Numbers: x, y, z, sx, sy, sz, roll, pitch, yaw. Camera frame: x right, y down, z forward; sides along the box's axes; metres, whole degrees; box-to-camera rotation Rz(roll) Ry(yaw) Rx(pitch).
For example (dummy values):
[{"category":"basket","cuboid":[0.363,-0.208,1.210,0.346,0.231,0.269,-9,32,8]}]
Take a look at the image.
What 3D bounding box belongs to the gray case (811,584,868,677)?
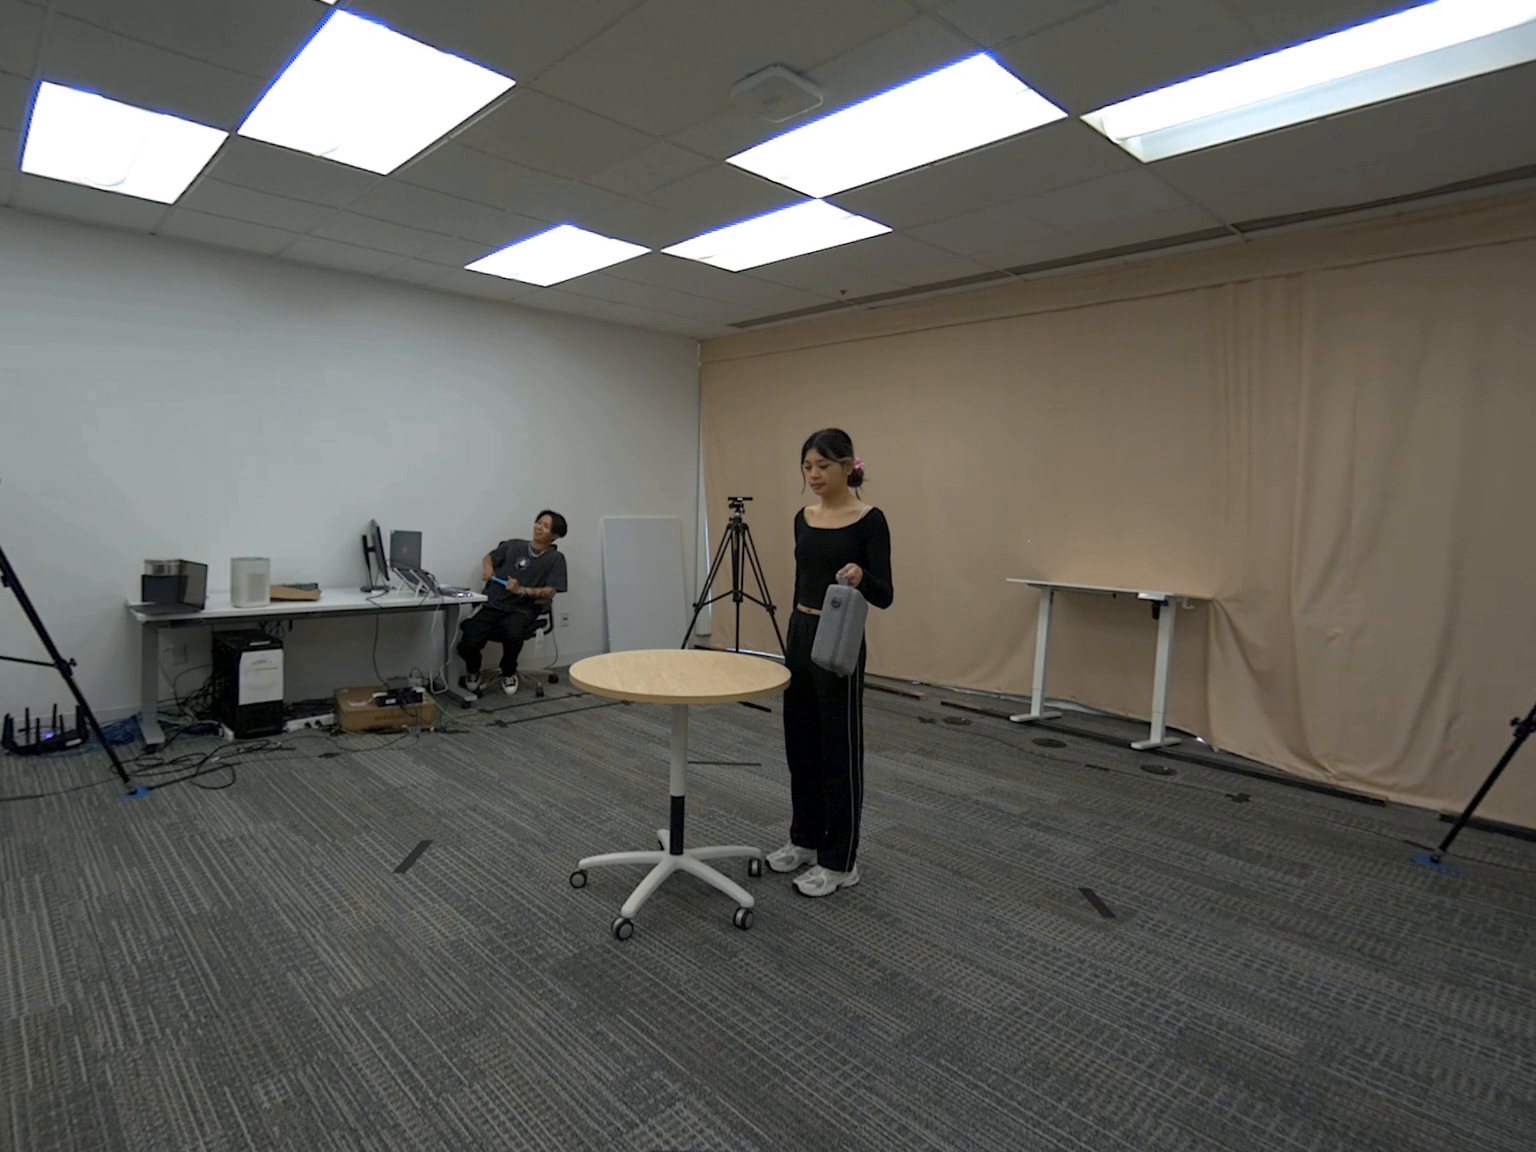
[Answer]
[{"category":"gray case","cuboid":[0.221,0.170,2.619,0.106,0.262,0.251,11,-11,19]}]
